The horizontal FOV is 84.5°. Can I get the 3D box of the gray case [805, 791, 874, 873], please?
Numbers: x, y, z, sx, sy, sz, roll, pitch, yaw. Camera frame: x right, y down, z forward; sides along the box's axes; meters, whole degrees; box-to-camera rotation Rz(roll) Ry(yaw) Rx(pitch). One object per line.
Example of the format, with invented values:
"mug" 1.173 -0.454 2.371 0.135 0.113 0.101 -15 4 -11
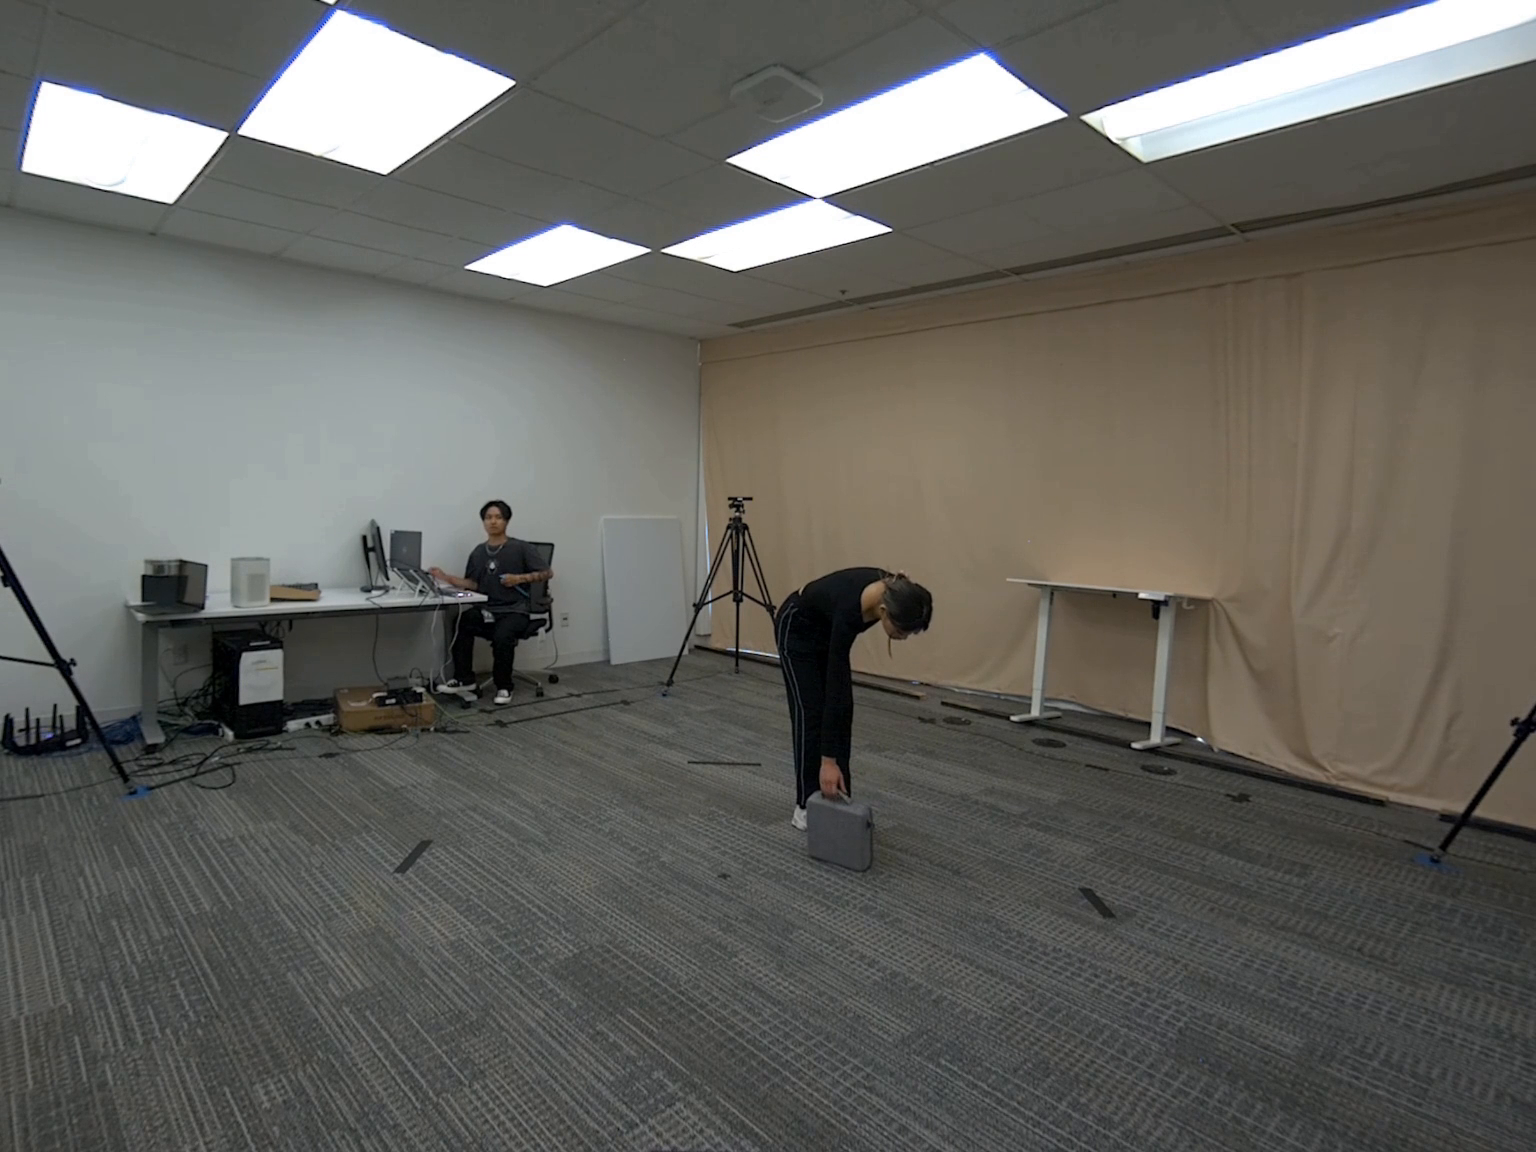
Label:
"gray case" 0.265 0.974 3.233 0.263 0.258 0.103 4 13 33
